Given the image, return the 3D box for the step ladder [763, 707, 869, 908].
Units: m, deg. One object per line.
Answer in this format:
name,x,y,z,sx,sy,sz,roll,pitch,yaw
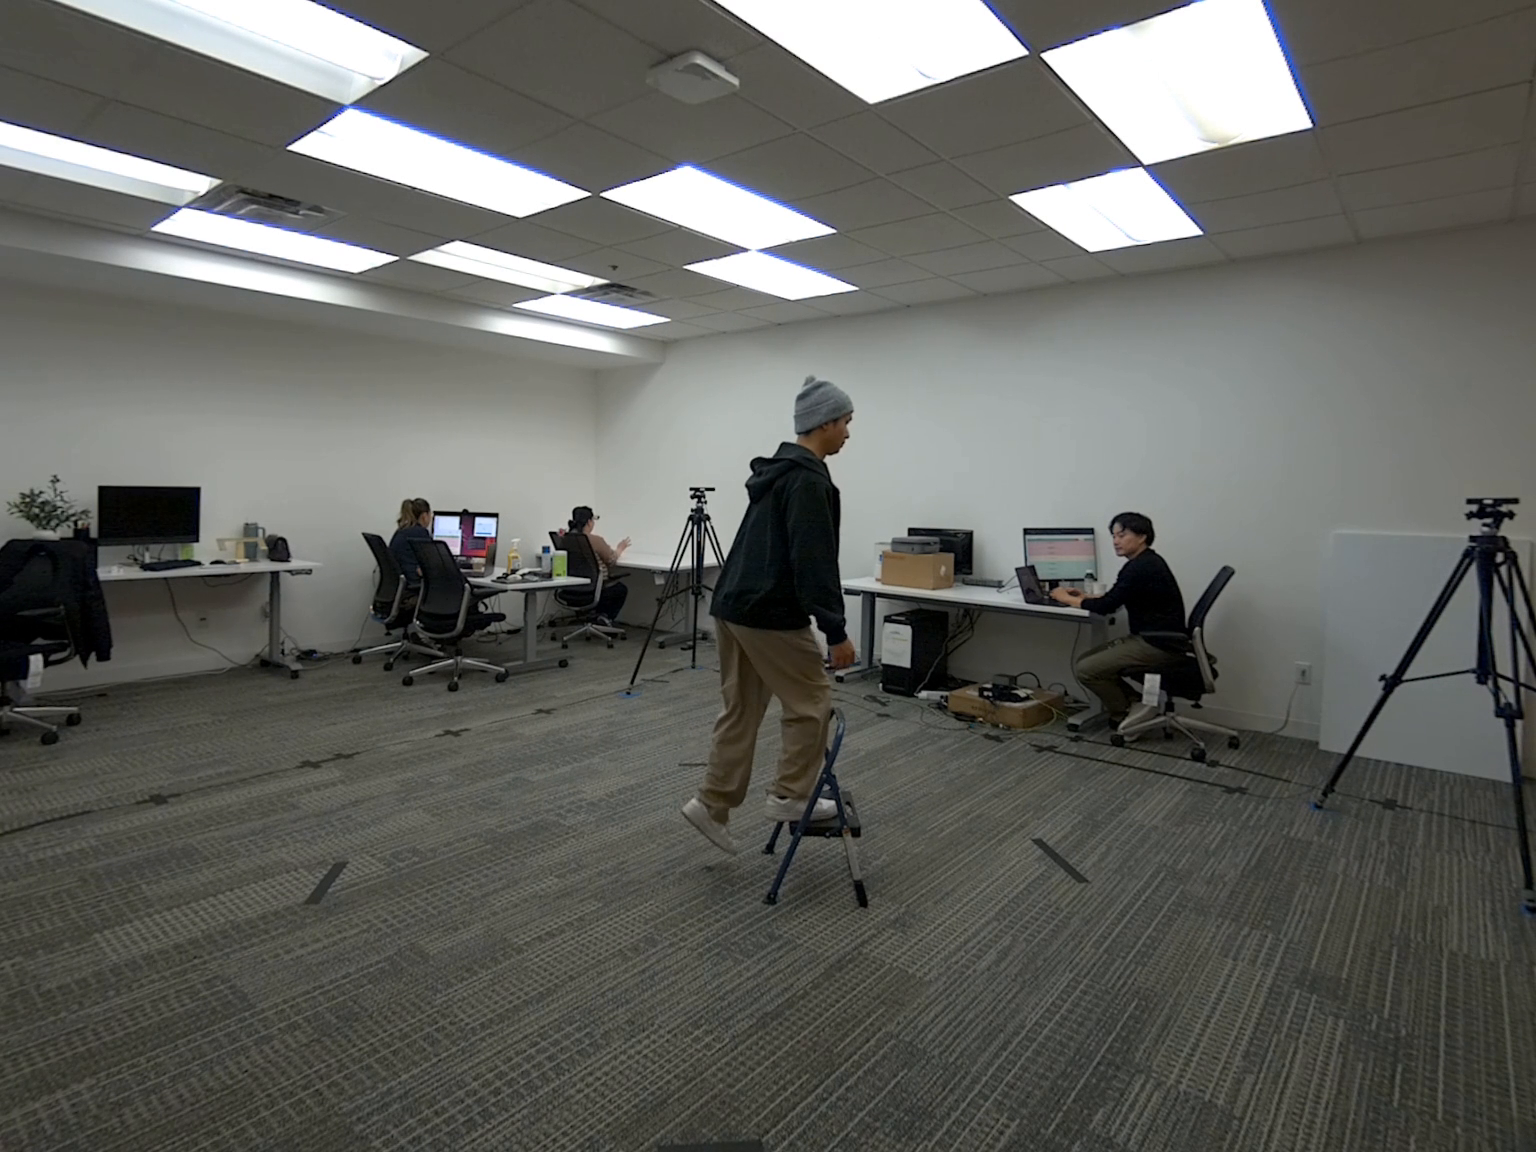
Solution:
step ladder,0.163,0.785,3.037,0.349,0.604,0.432,2,4,-1
